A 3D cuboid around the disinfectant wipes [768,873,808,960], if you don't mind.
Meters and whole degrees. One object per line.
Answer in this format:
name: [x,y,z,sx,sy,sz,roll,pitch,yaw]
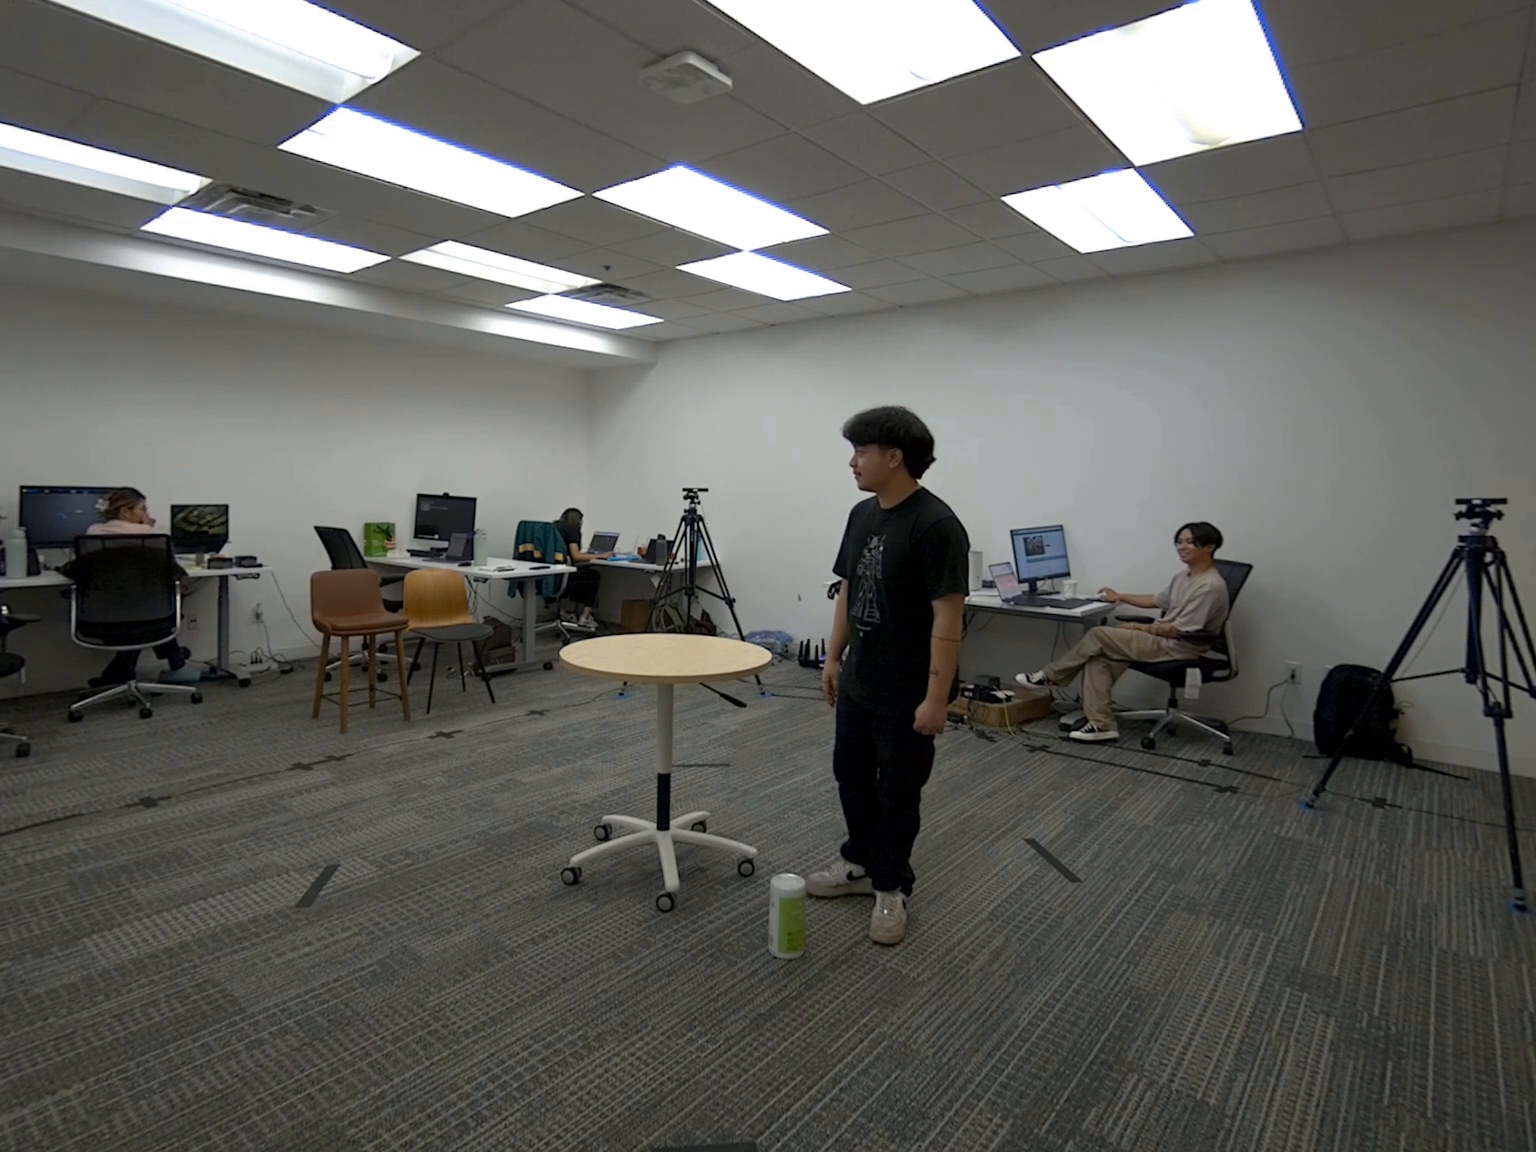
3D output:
disinfectant wipes: [0.048,1.027,2.552,0.117,0.217,0.118,4,2,-2]
